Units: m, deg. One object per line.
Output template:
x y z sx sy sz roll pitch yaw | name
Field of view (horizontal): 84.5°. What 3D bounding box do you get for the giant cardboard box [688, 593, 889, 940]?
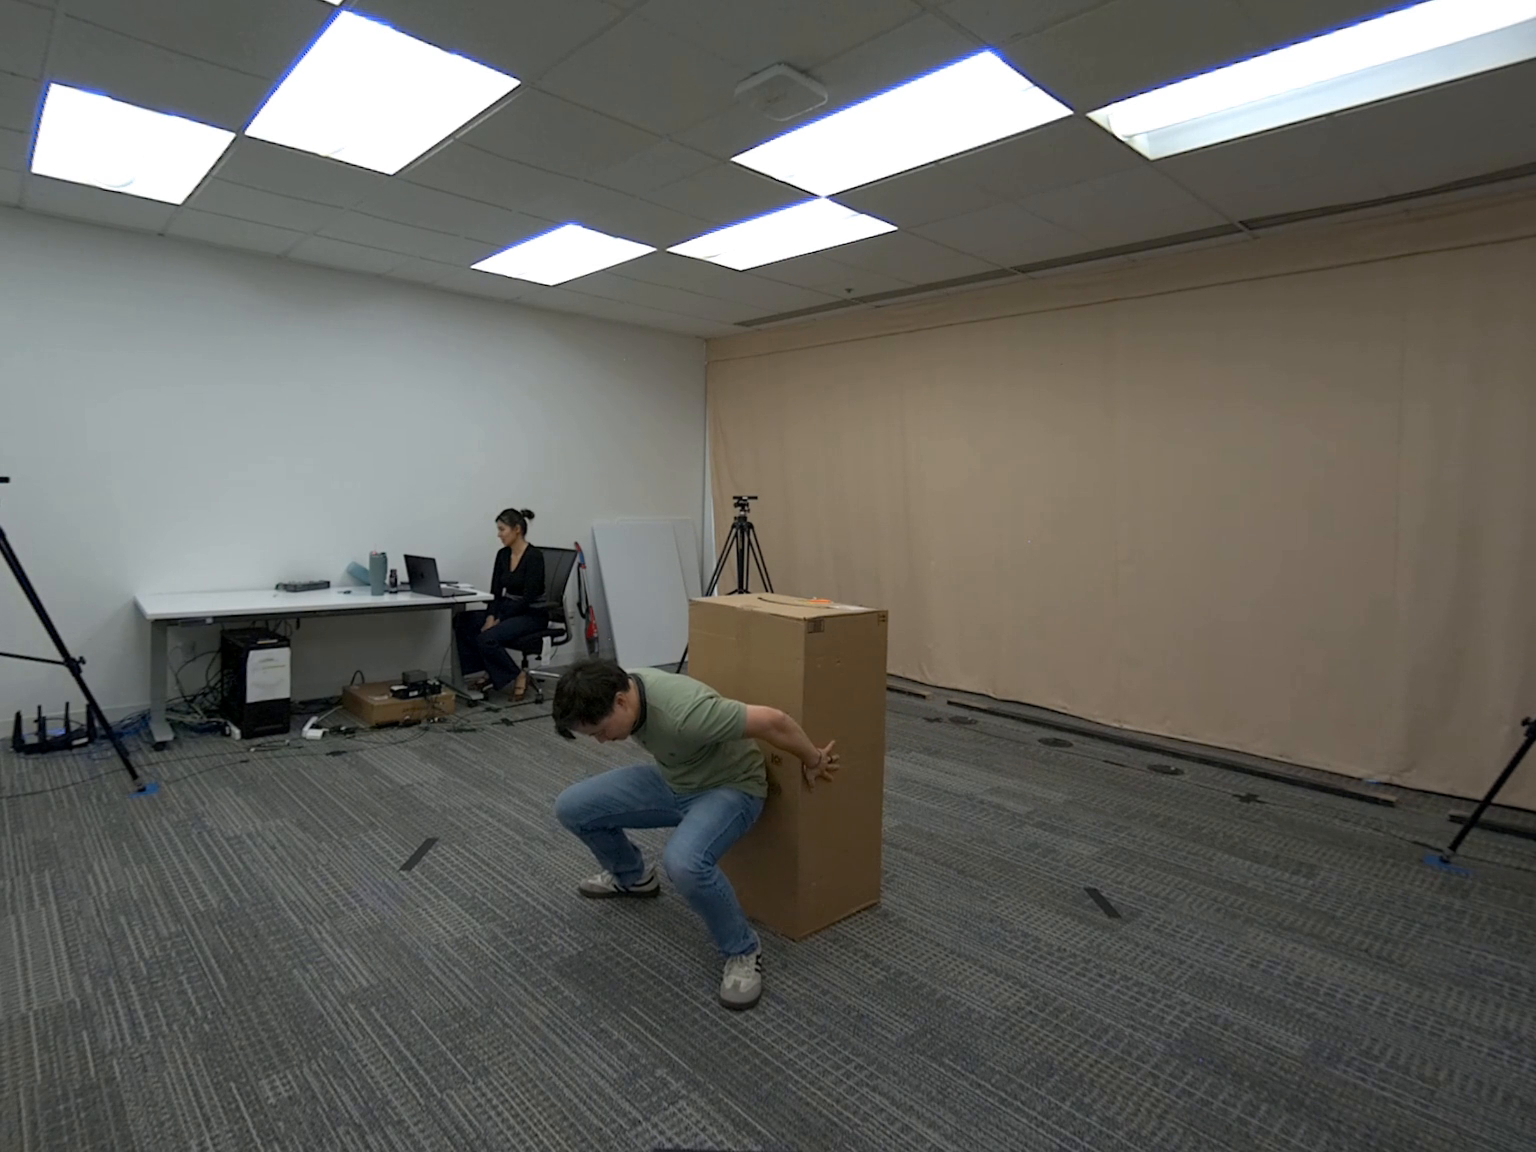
0.049 0.608 2.972 0.416 1.023 0.592 -2 5 -43 | giant cardboard box
